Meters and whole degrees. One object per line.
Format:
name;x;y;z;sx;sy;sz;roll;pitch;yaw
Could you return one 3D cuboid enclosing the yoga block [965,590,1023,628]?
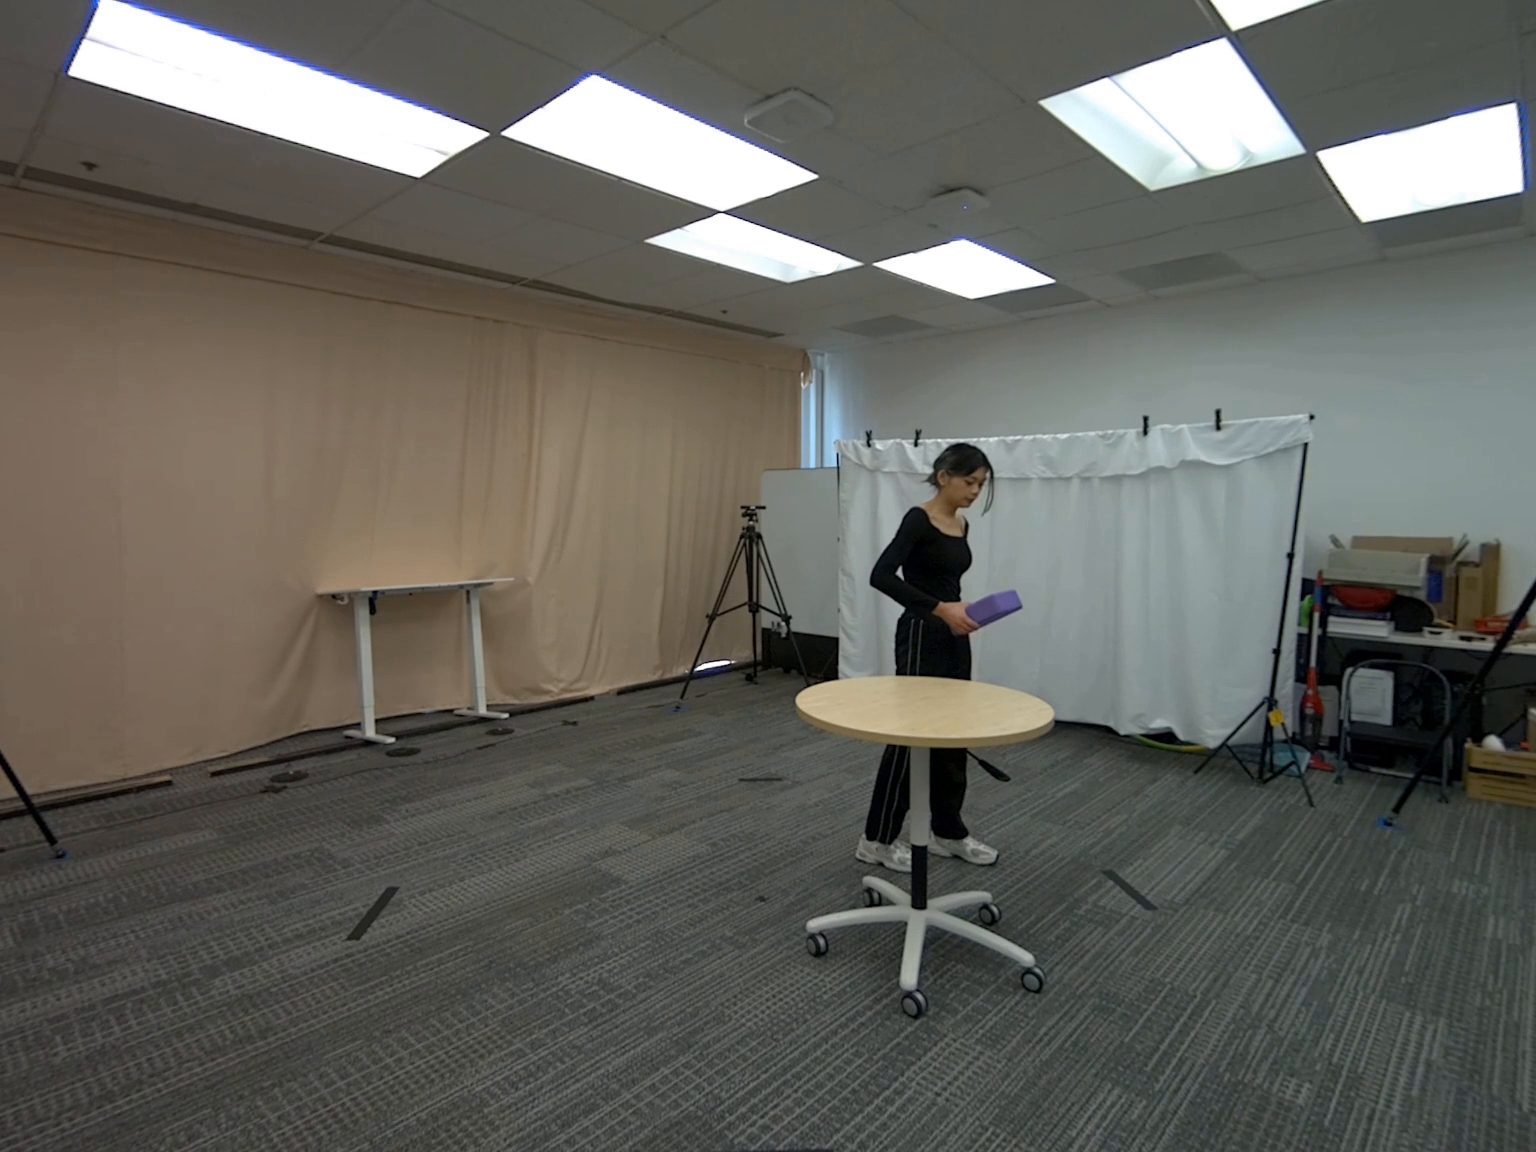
yoga block;0.754;0.130;3.023;0.144;0.077;0.233;-8;-16;-42
